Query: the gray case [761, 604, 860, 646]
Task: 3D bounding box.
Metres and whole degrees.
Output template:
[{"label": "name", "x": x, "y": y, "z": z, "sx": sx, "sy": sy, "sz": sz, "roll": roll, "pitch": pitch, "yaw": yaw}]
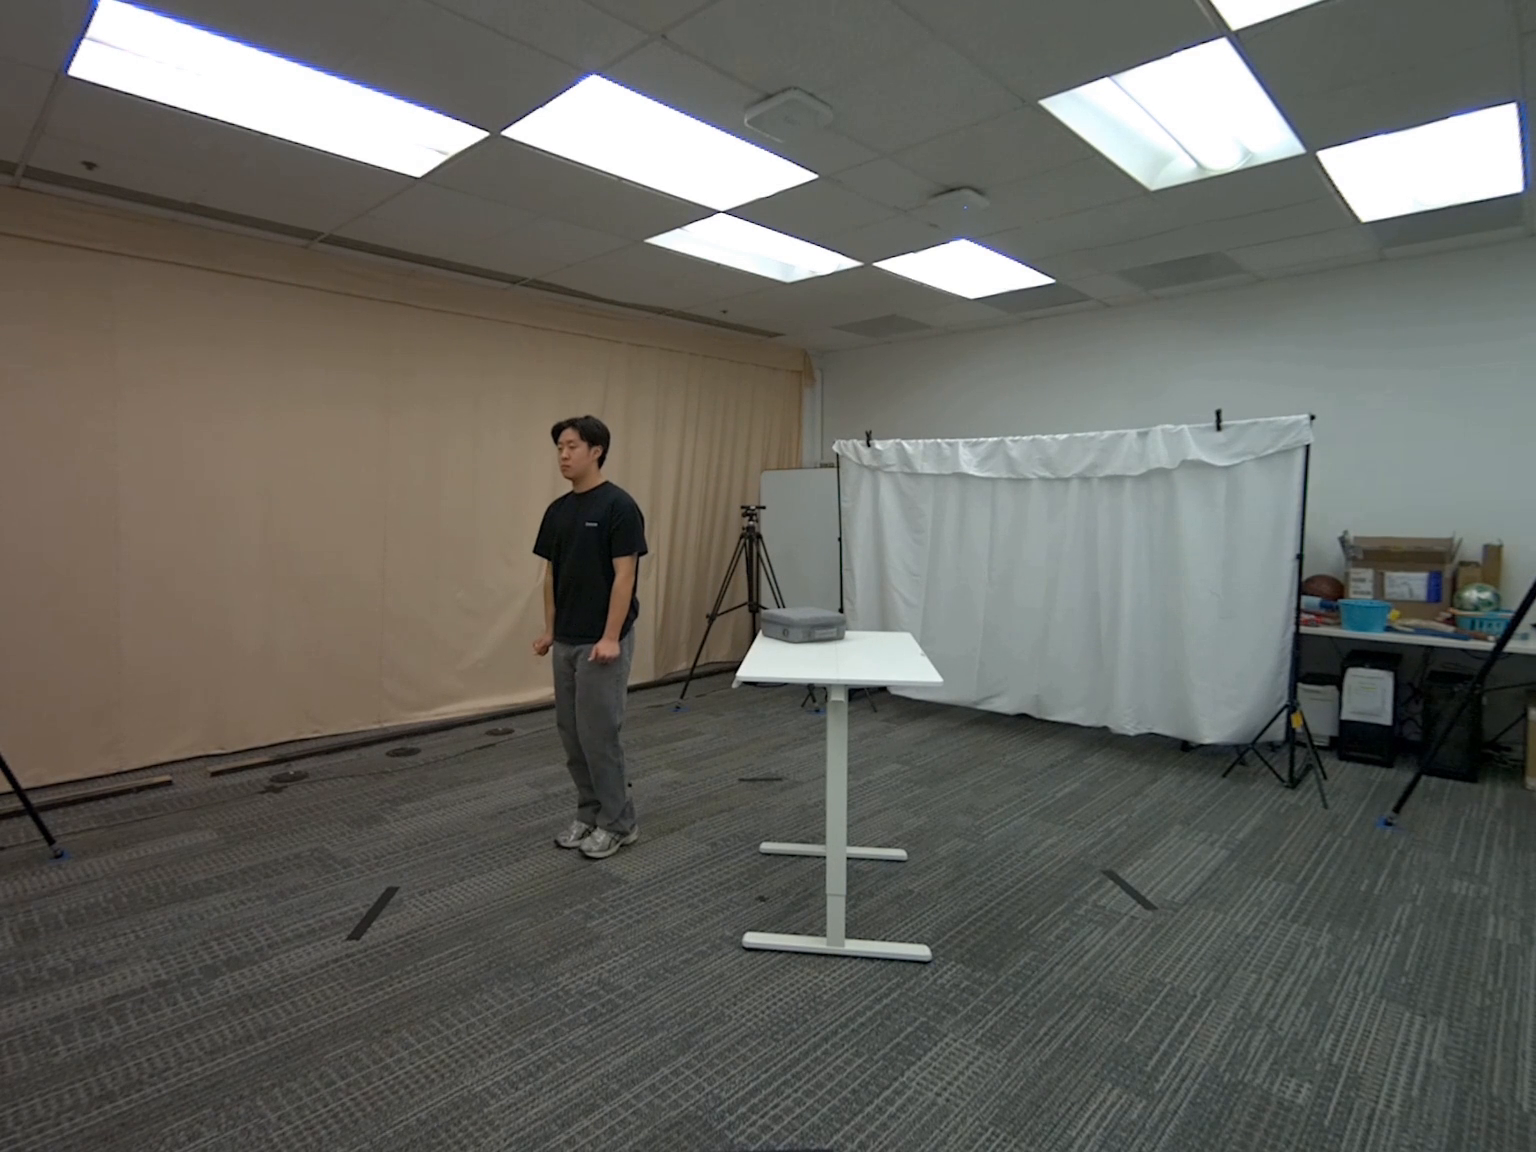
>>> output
[{"label": "gray case", "x": 0.157, "y": 0.182, "z": 3.248, "sx": 0.281, "sy": 0.103, "sz": 0.269, "roll": -3, "pitch": 5, "yaw": -21}]
